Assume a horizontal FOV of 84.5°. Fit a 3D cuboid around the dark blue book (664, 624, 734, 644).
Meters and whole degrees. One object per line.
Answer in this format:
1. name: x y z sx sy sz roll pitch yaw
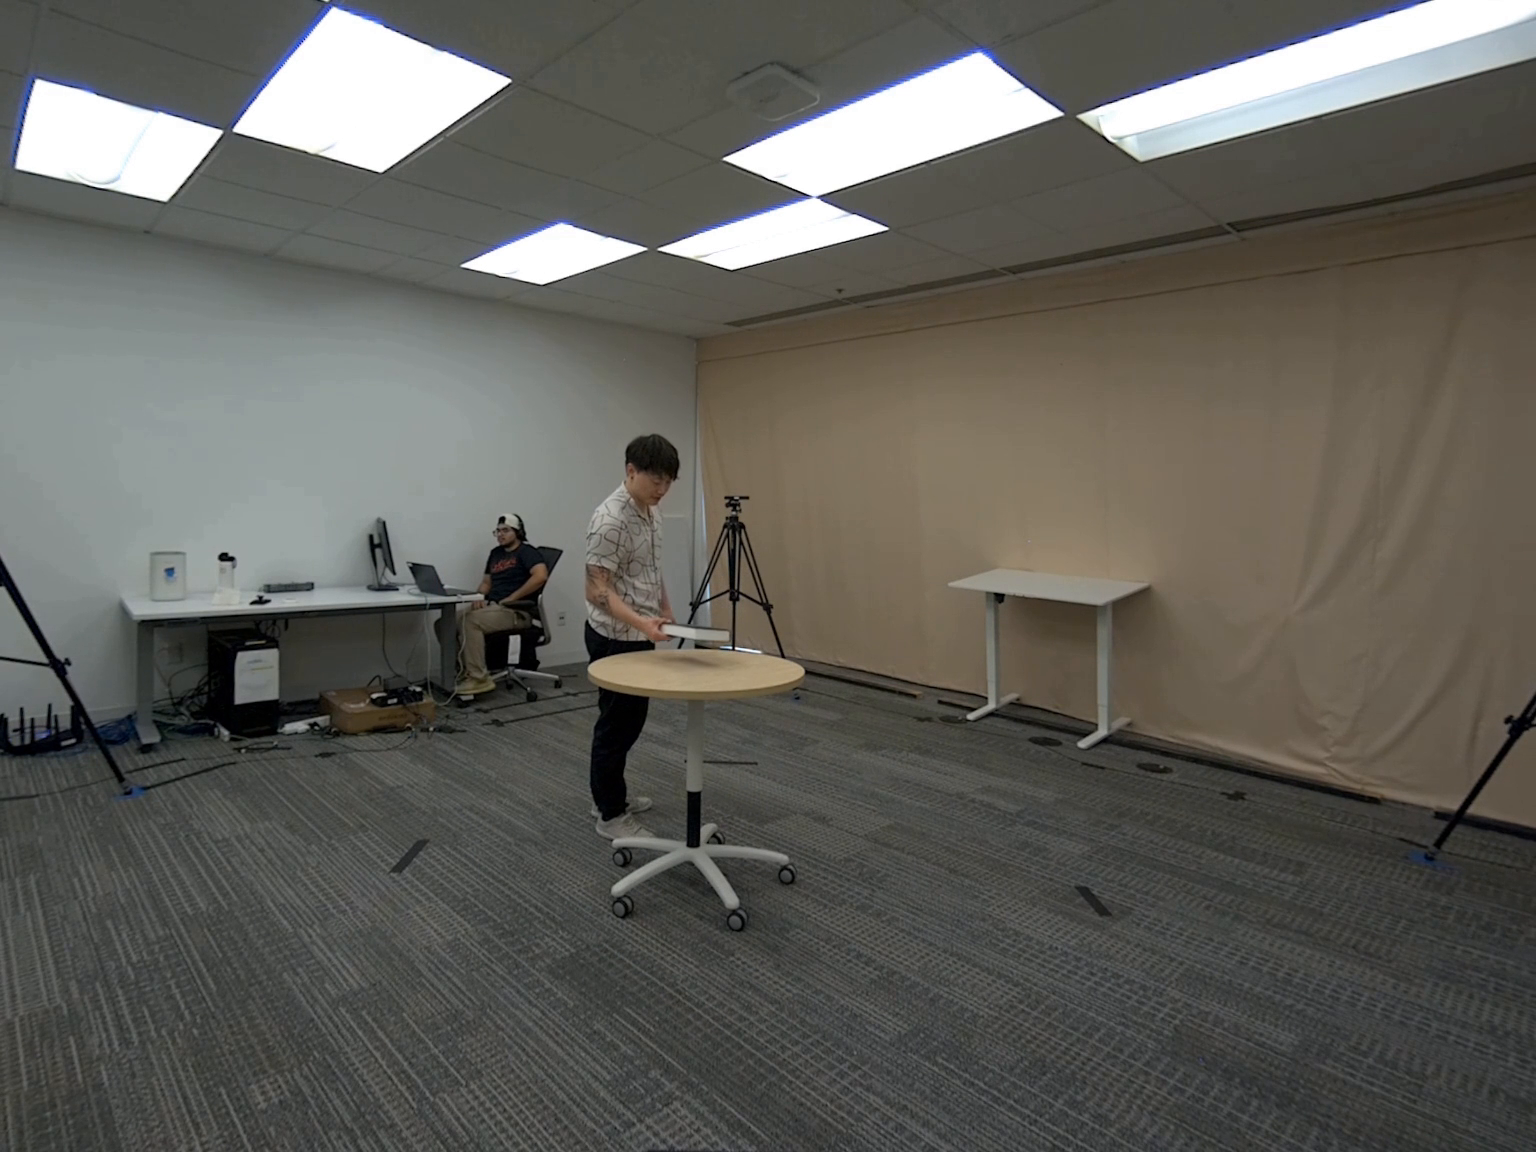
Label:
1. dark blue book: -0.265 0.207 3.092 0.159 0.045 0.250 6 -2 -33
